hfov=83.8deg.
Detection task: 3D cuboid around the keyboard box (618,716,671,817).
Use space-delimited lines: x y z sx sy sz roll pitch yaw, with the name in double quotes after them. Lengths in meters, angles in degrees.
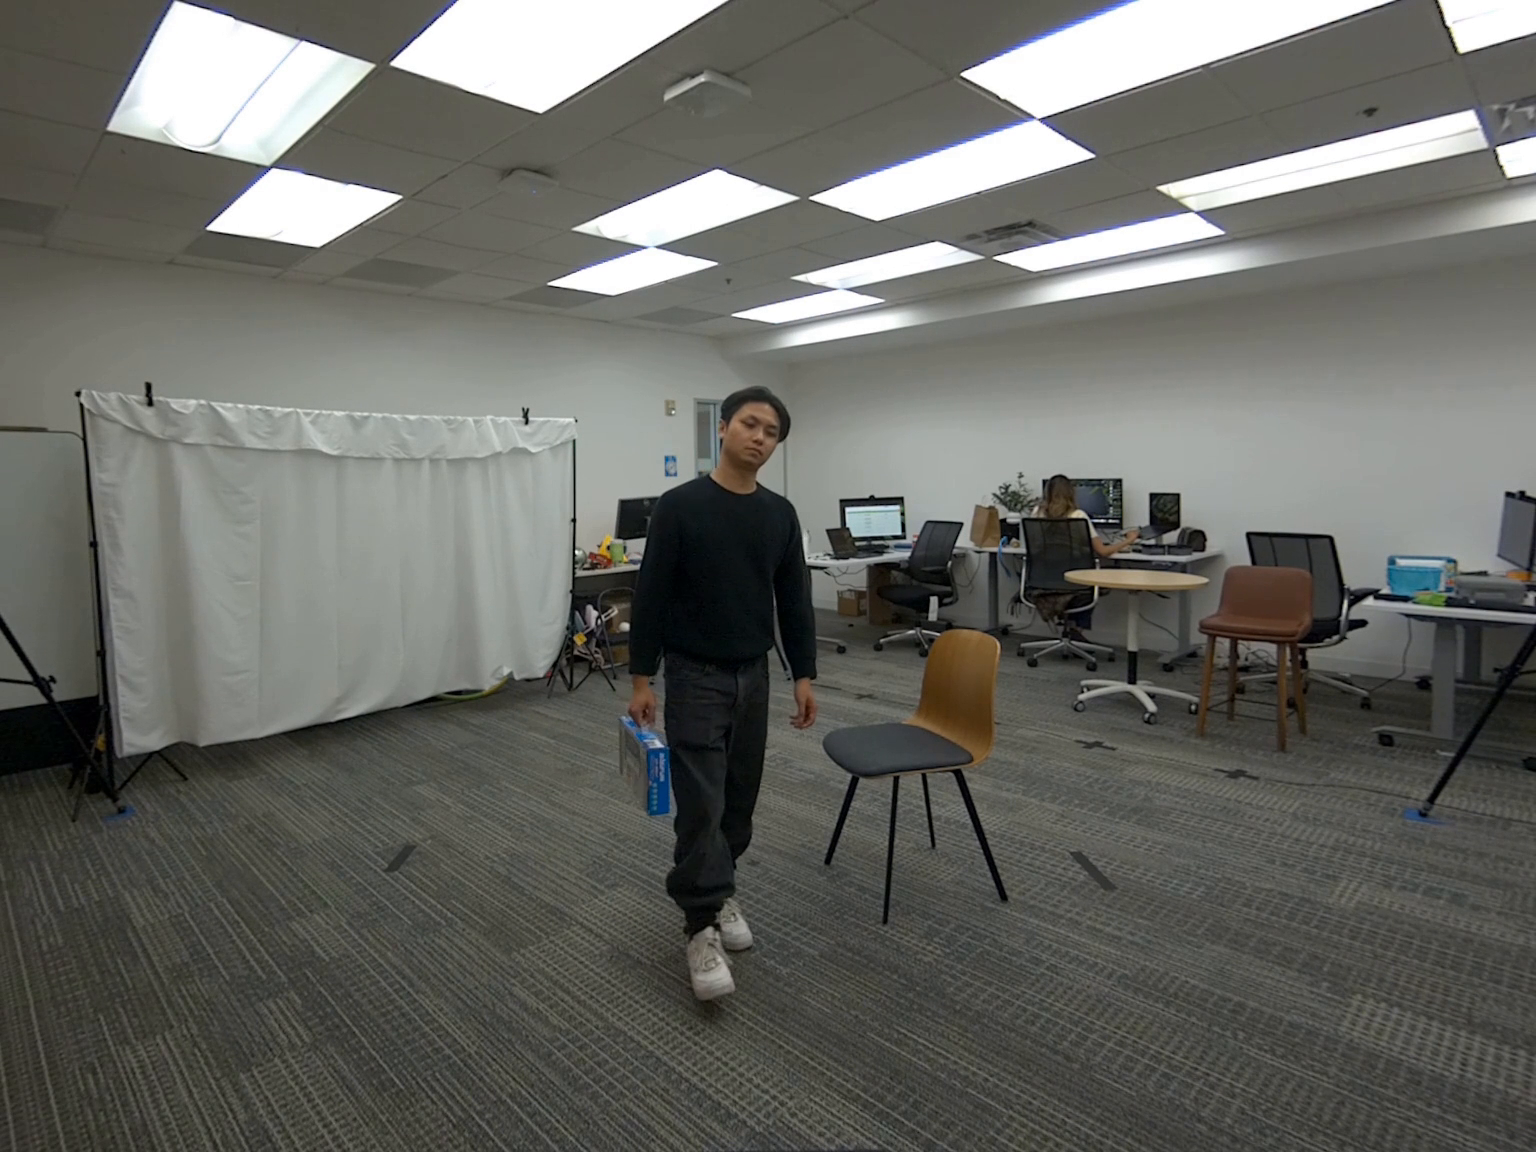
-0.351 0.522 2.411 0.058 0.175 0.444 -1 3 -18 "keyboard box"
